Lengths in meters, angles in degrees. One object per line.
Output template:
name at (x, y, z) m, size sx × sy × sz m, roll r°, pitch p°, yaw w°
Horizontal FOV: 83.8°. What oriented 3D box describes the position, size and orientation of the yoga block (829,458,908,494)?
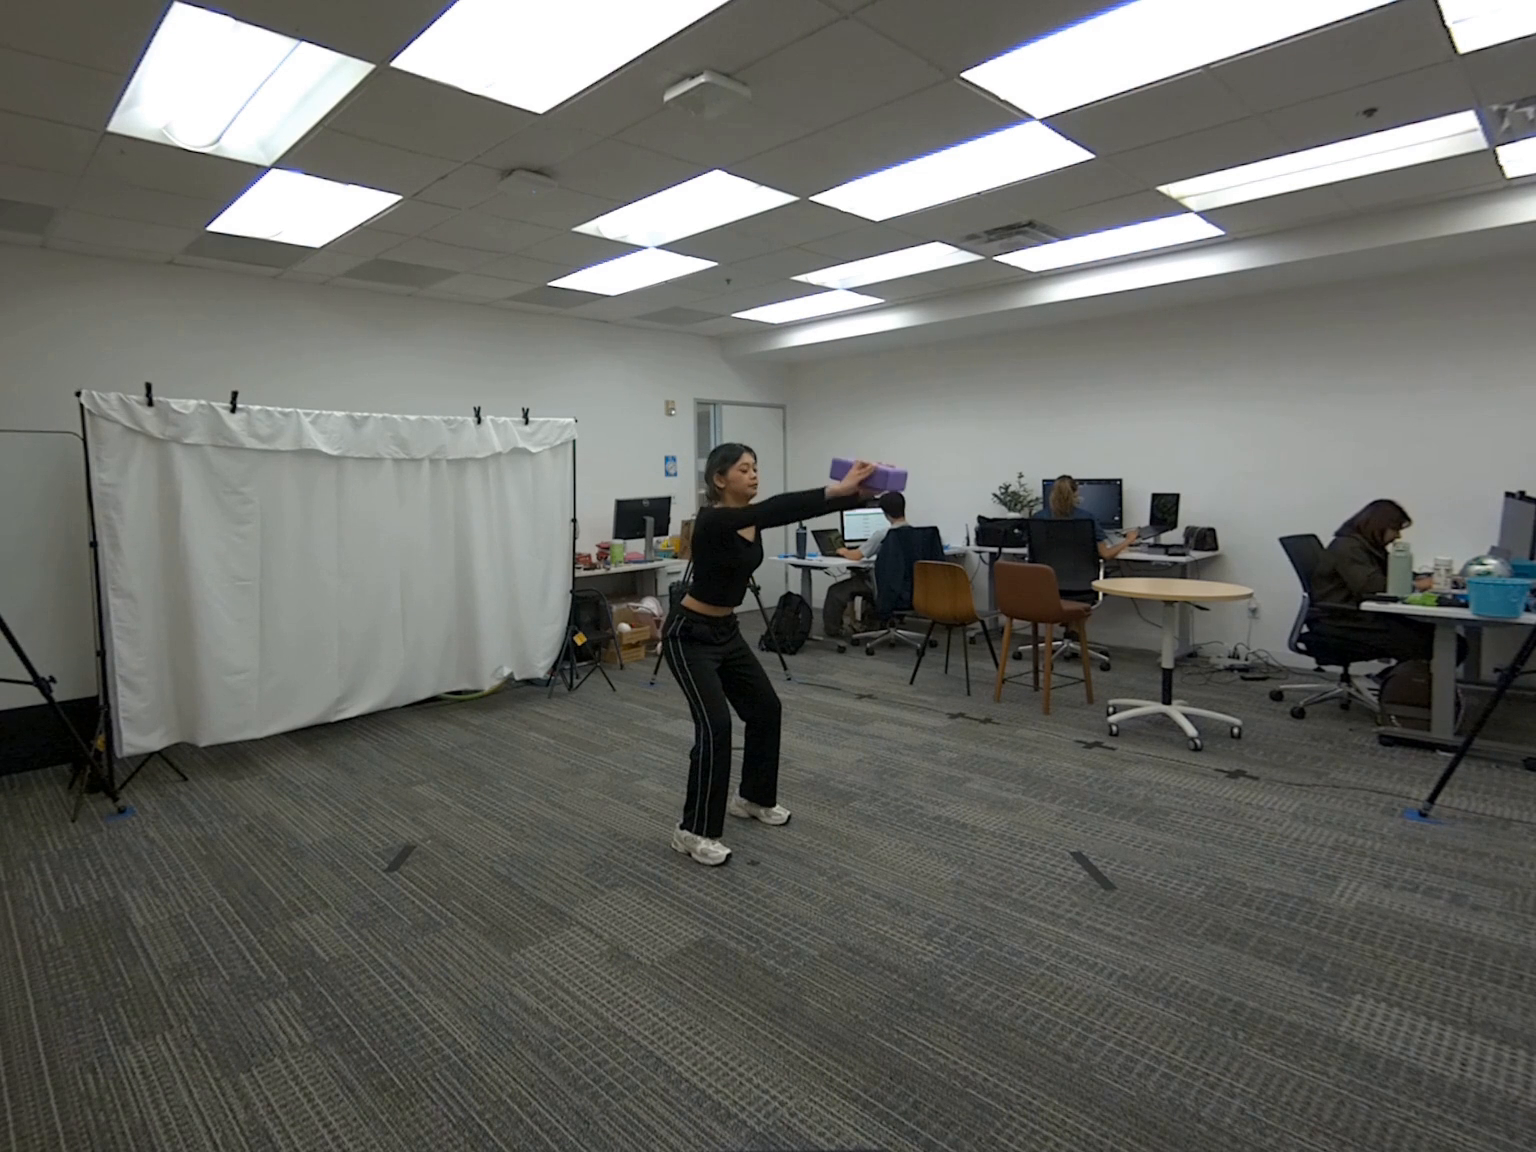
yoga block at (0.346, -0.352, 2.961) m, size 0.237 × 0.076 × 0.145 m, roll 20°, pitch 16°, yaw 34°
